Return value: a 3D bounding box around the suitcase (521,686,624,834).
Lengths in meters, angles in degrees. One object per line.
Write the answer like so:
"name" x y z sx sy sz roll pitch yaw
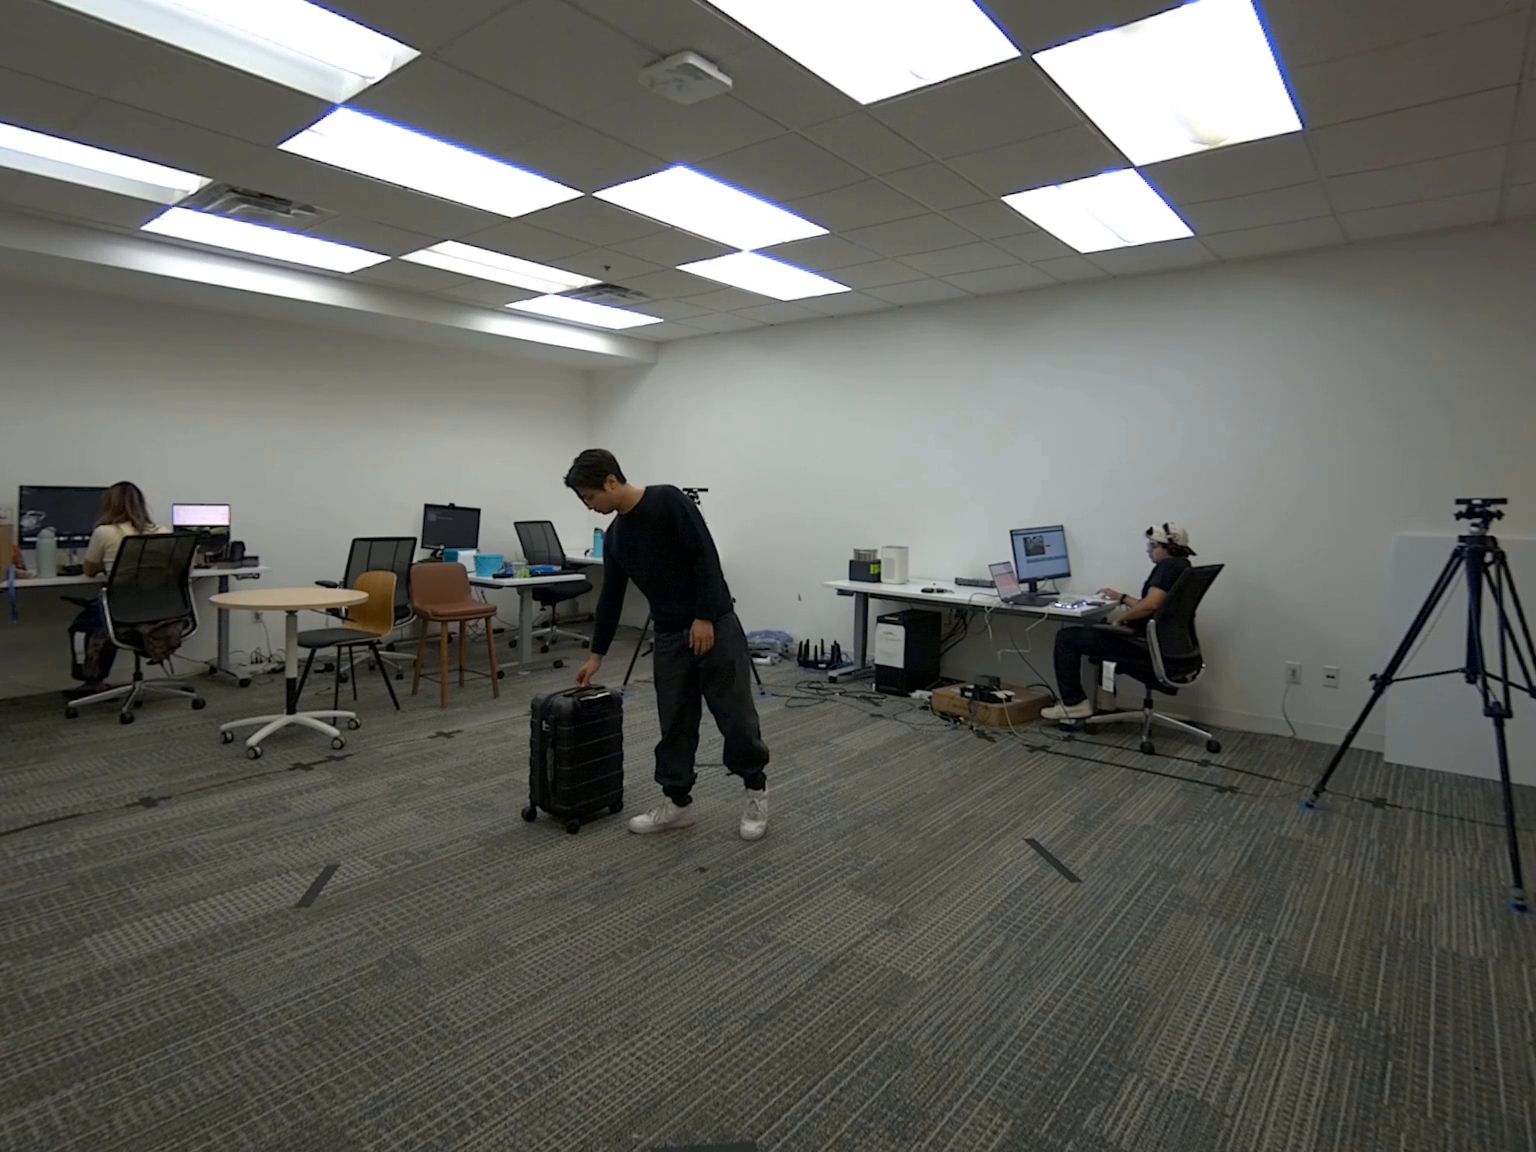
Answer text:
"suitcase" -0.823 0.738 3.595 0.256 0.548 0.364 3 4 38
